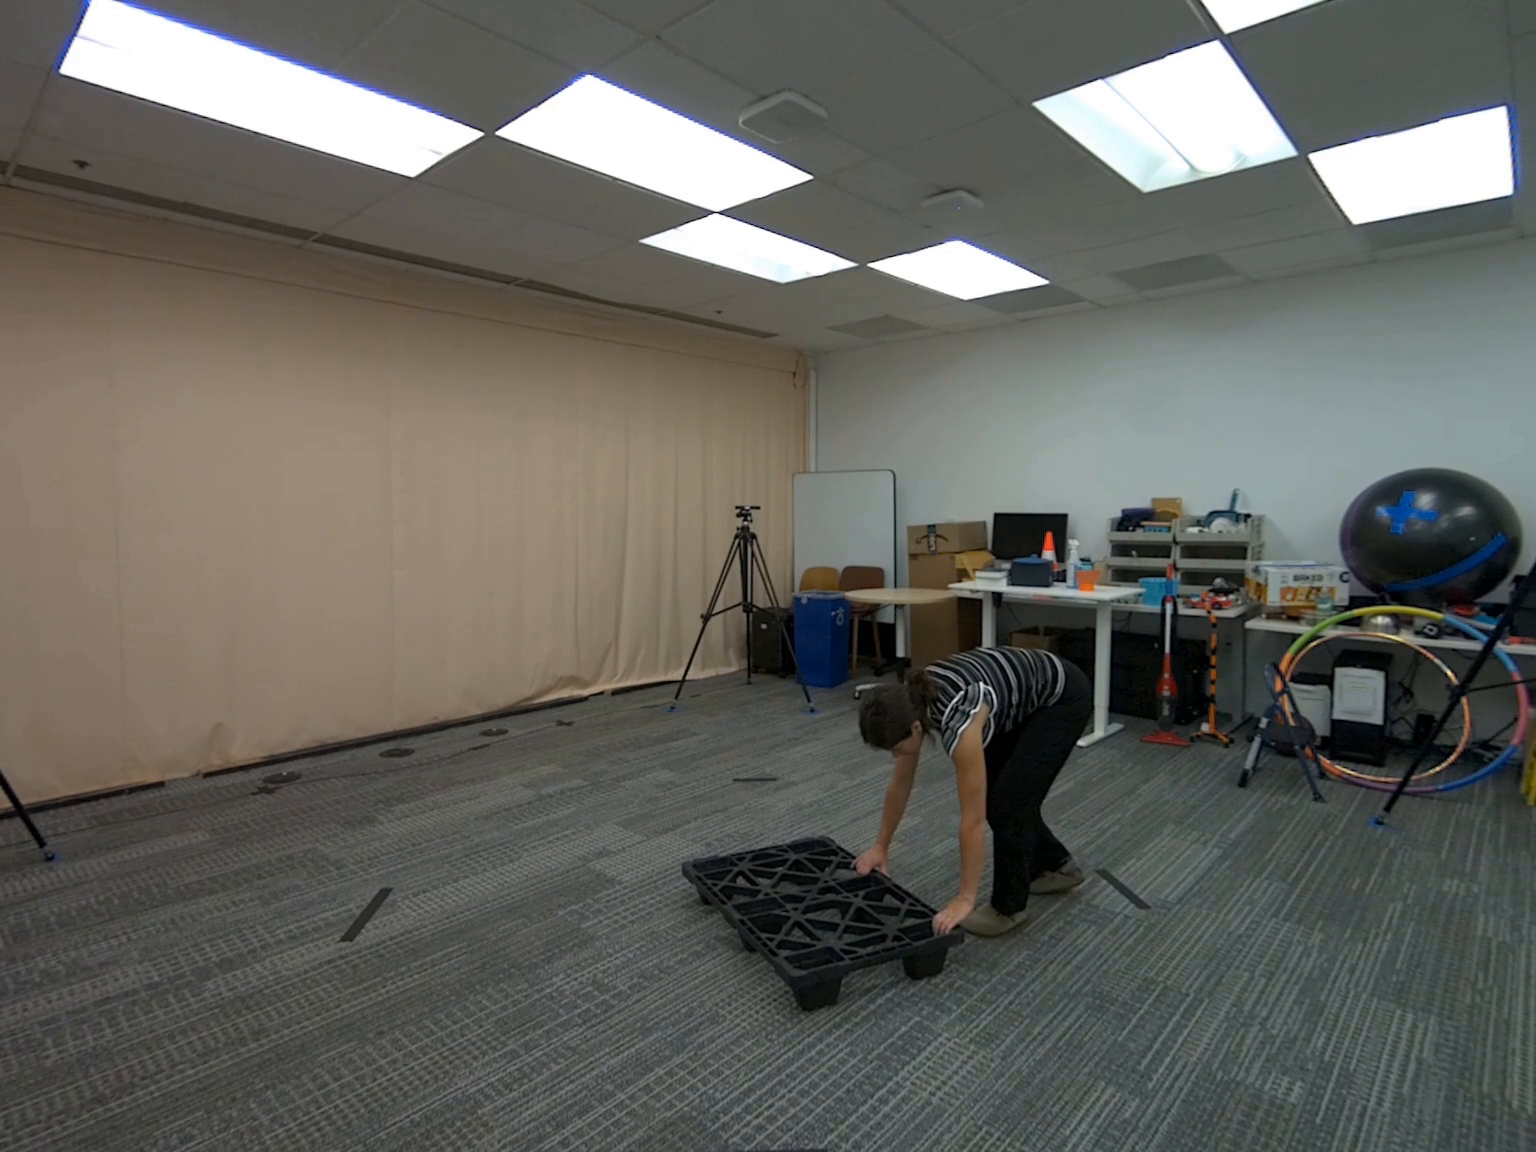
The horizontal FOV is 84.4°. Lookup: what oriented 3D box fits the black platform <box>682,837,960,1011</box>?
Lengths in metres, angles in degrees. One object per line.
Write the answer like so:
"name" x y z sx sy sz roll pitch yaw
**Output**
"black platform" 0.140 1.098 2.733 0.591 0.143 0.827 -3 5 -26
